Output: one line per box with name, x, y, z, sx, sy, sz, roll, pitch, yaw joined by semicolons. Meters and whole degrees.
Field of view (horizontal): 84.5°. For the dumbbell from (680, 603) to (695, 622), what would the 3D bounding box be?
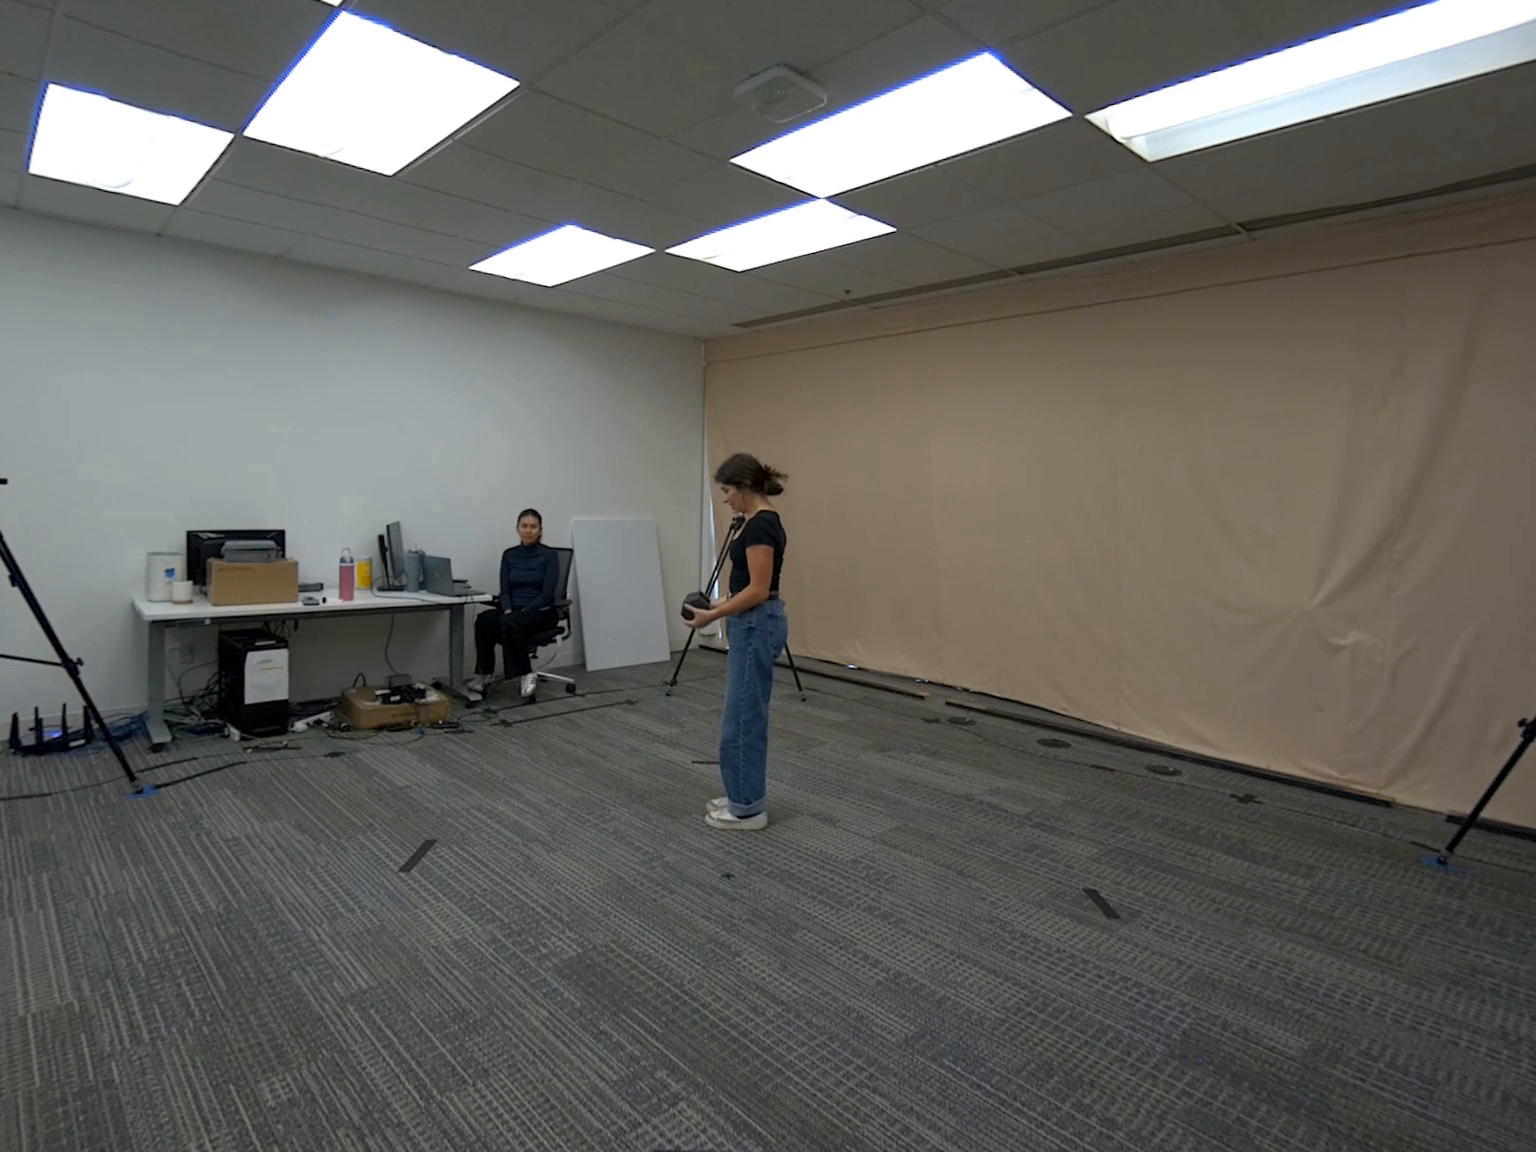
dumbbell;-0.299;0.129;3.626;0.122;0.109;0.295;40;2;-6
